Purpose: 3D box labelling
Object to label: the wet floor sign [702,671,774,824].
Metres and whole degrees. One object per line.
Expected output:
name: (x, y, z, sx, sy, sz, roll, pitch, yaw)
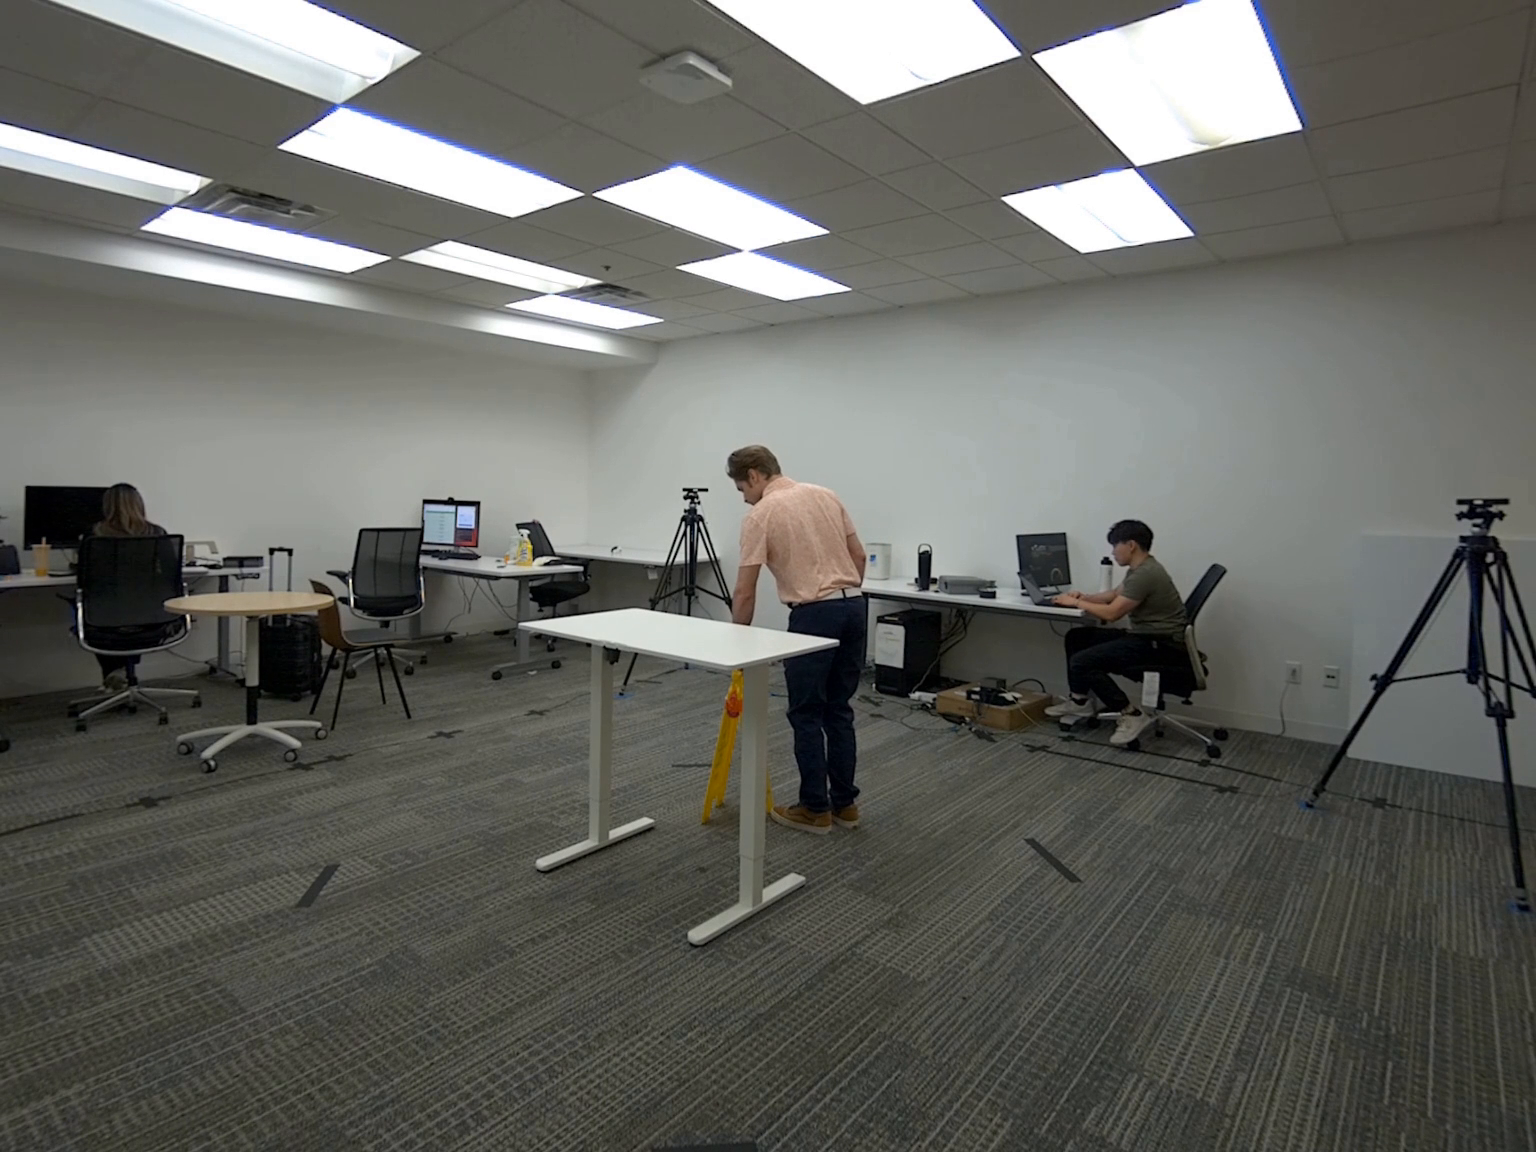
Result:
wet floor sign: (-0.127, 0.697, 3.604, 0.294, 0.643, 0.280, 1, 5, 11)
